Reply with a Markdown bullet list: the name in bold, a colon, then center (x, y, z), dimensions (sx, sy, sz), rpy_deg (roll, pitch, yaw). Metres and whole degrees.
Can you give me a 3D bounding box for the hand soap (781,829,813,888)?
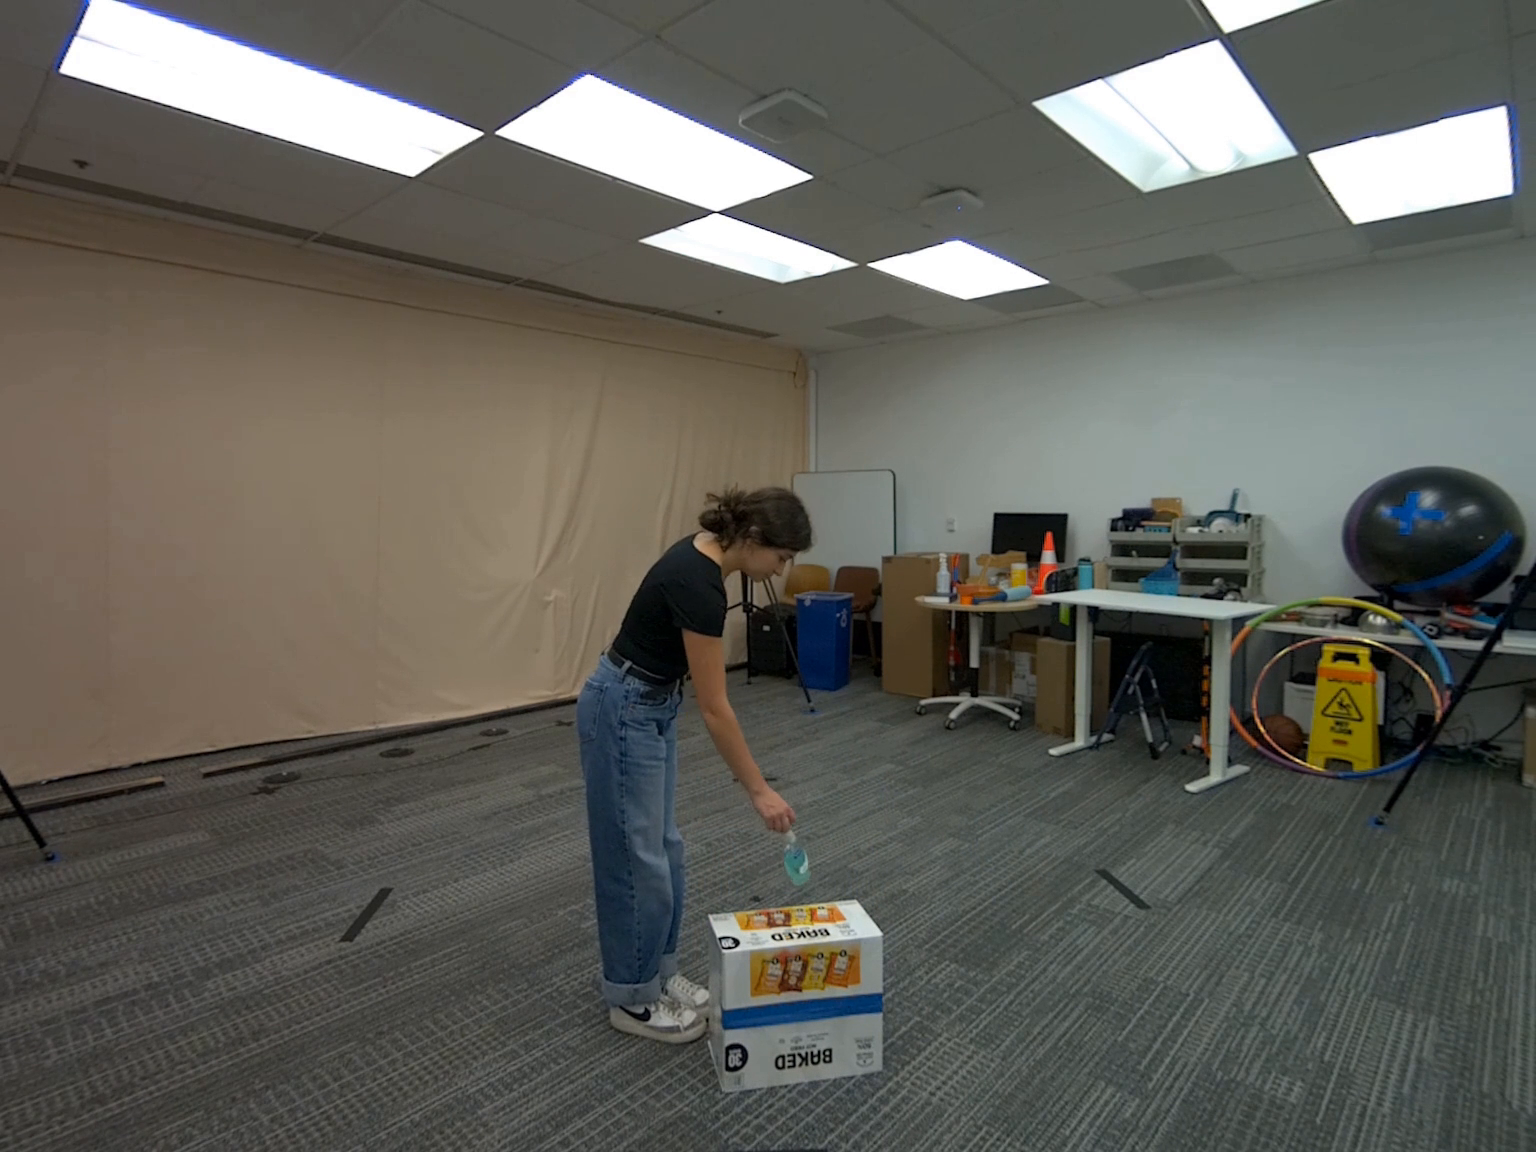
- **hand soap**: center (0.069, 0.691, 2.111), dimensions (0.044, 0.167, 0.083), rpy_deg (-9, 9, 36)
